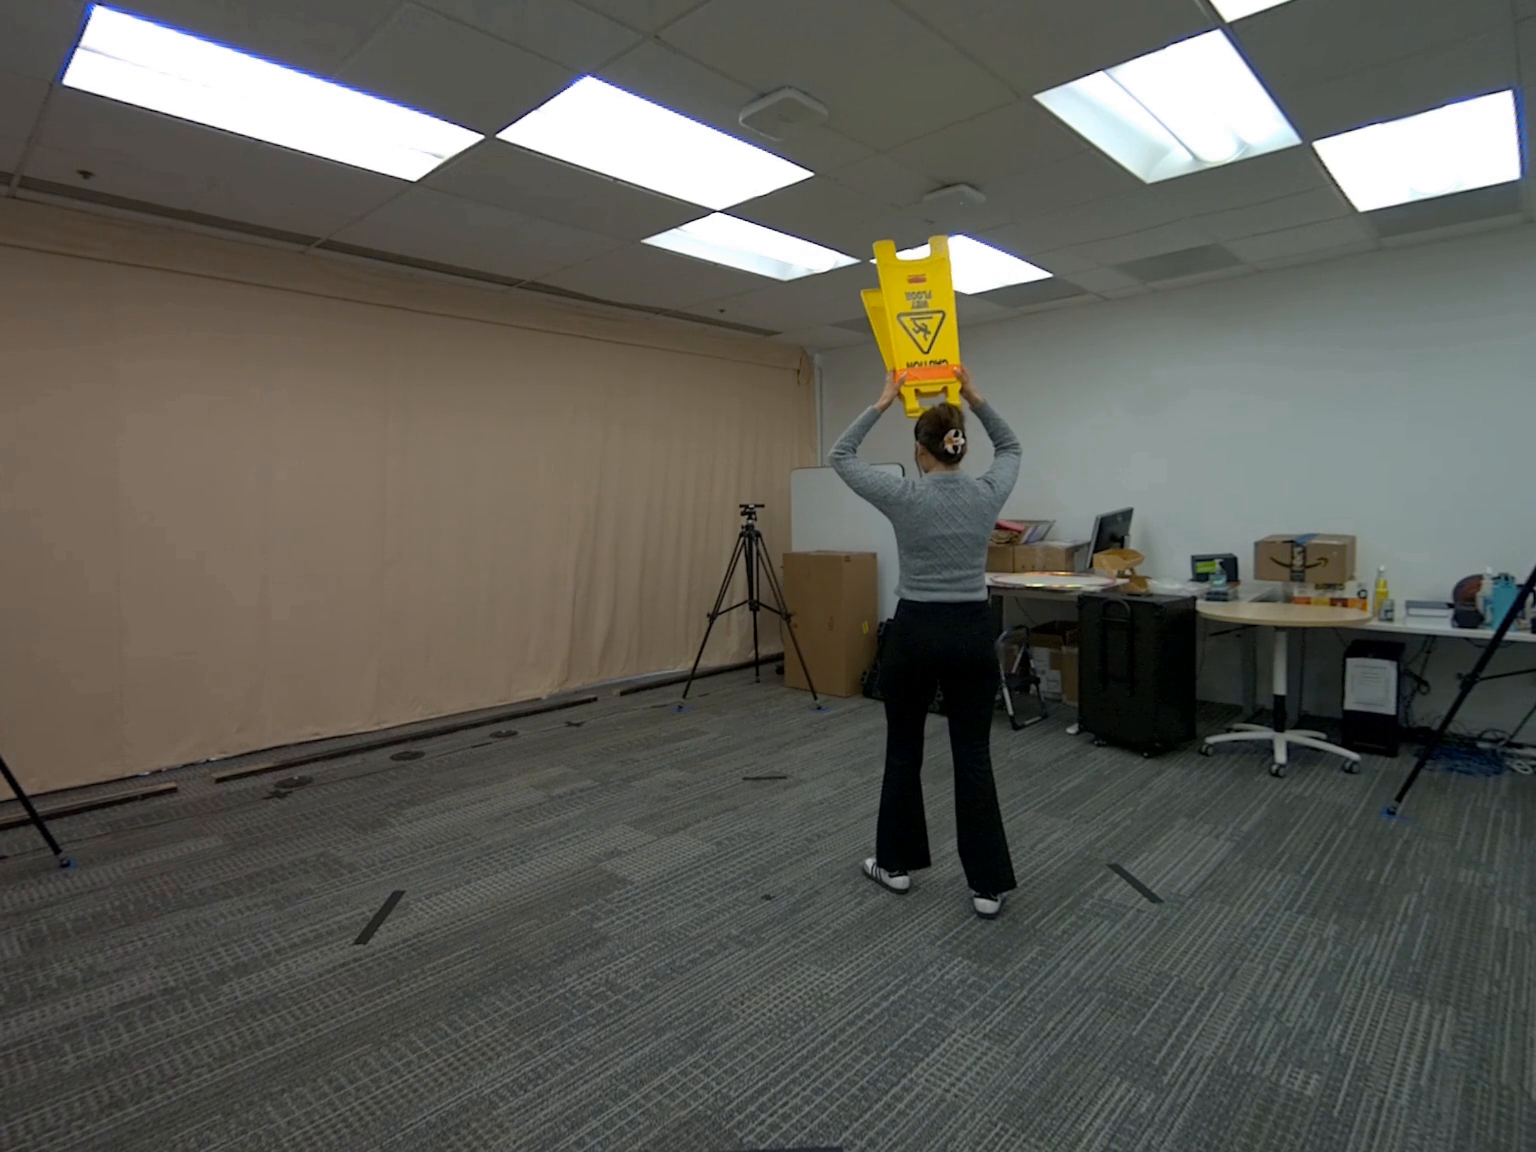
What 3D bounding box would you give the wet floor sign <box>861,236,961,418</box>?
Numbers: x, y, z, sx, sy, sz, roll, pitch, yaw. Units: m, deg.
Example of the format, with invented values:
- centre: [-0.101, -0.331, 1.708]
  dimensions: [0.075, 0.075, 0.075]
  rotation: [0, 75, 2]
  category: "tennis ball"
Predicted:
- centre: [0.568, -0.867, 3.082]
  dimensions: [0.282, 0.655, 0.286]
  rotation: [-4, -20, -3]
  category: "wet floor sign"
